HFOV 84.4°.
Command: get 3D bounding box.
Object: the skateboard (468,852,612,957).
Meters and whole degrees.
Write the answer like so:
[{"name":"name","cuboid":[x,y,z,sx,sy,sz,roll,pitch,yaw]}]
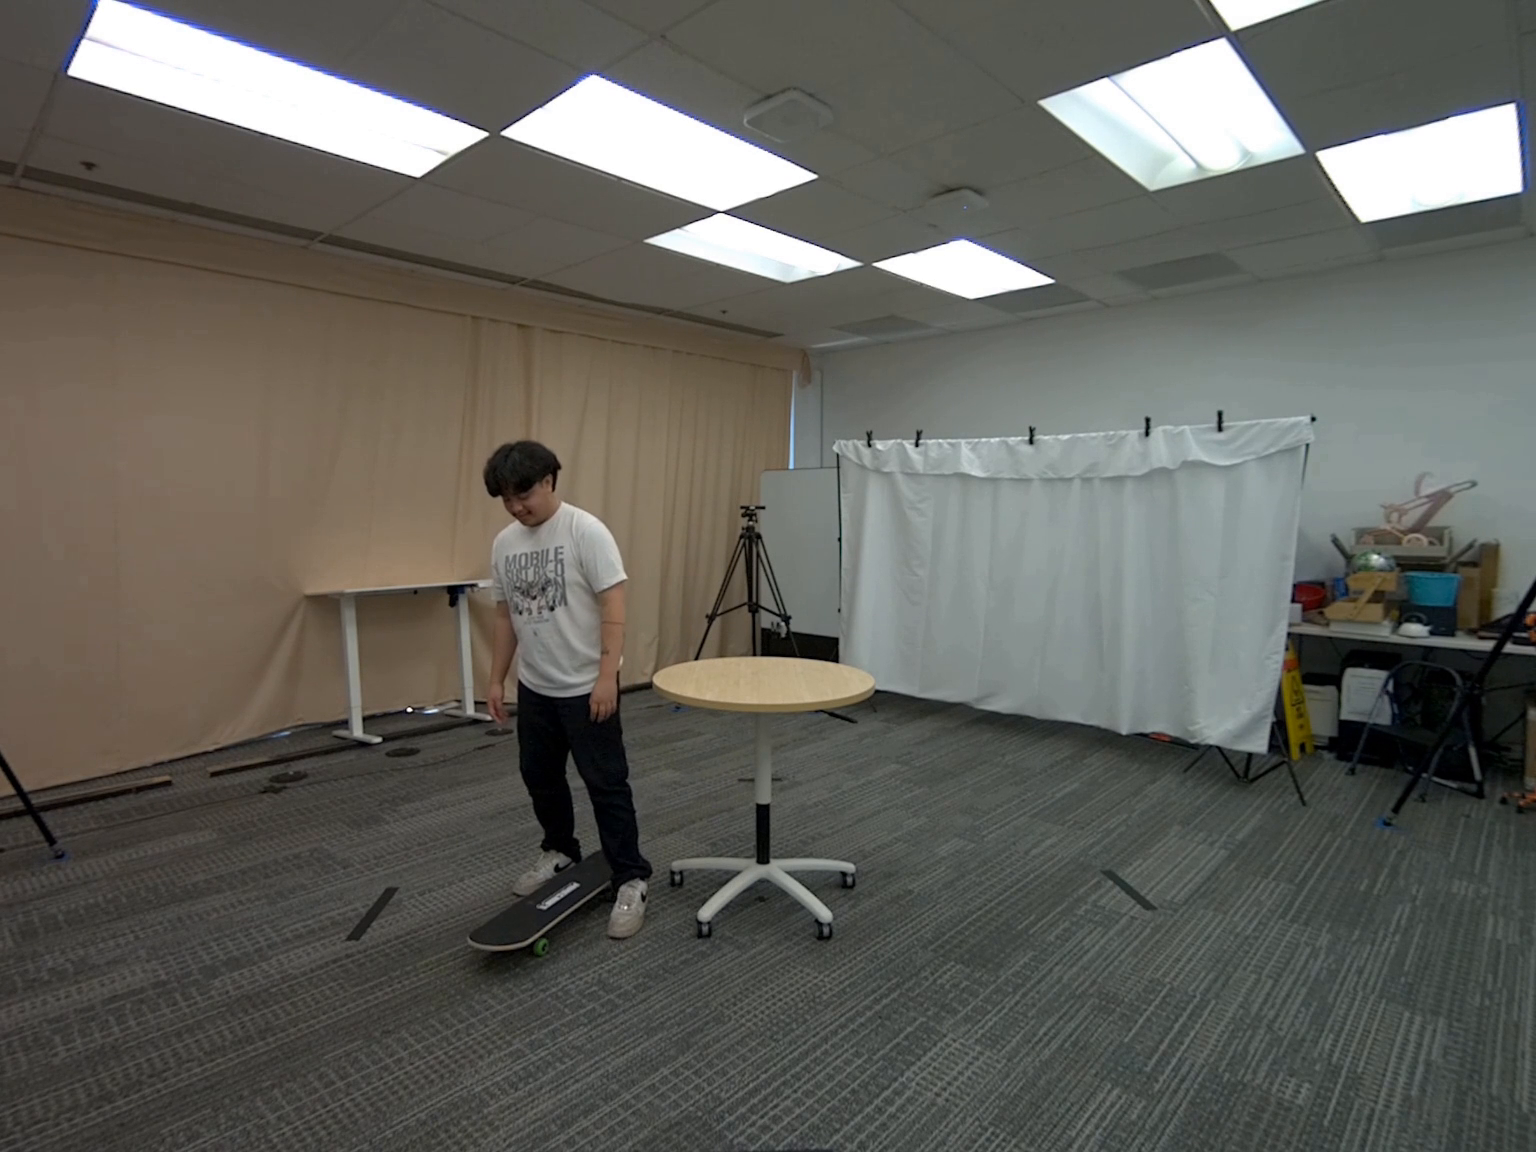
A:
[{"name":"skateboard","cuboid":[-0.702,1.109,2.829,0.198,0.110,0.768,1,4,22]}]
